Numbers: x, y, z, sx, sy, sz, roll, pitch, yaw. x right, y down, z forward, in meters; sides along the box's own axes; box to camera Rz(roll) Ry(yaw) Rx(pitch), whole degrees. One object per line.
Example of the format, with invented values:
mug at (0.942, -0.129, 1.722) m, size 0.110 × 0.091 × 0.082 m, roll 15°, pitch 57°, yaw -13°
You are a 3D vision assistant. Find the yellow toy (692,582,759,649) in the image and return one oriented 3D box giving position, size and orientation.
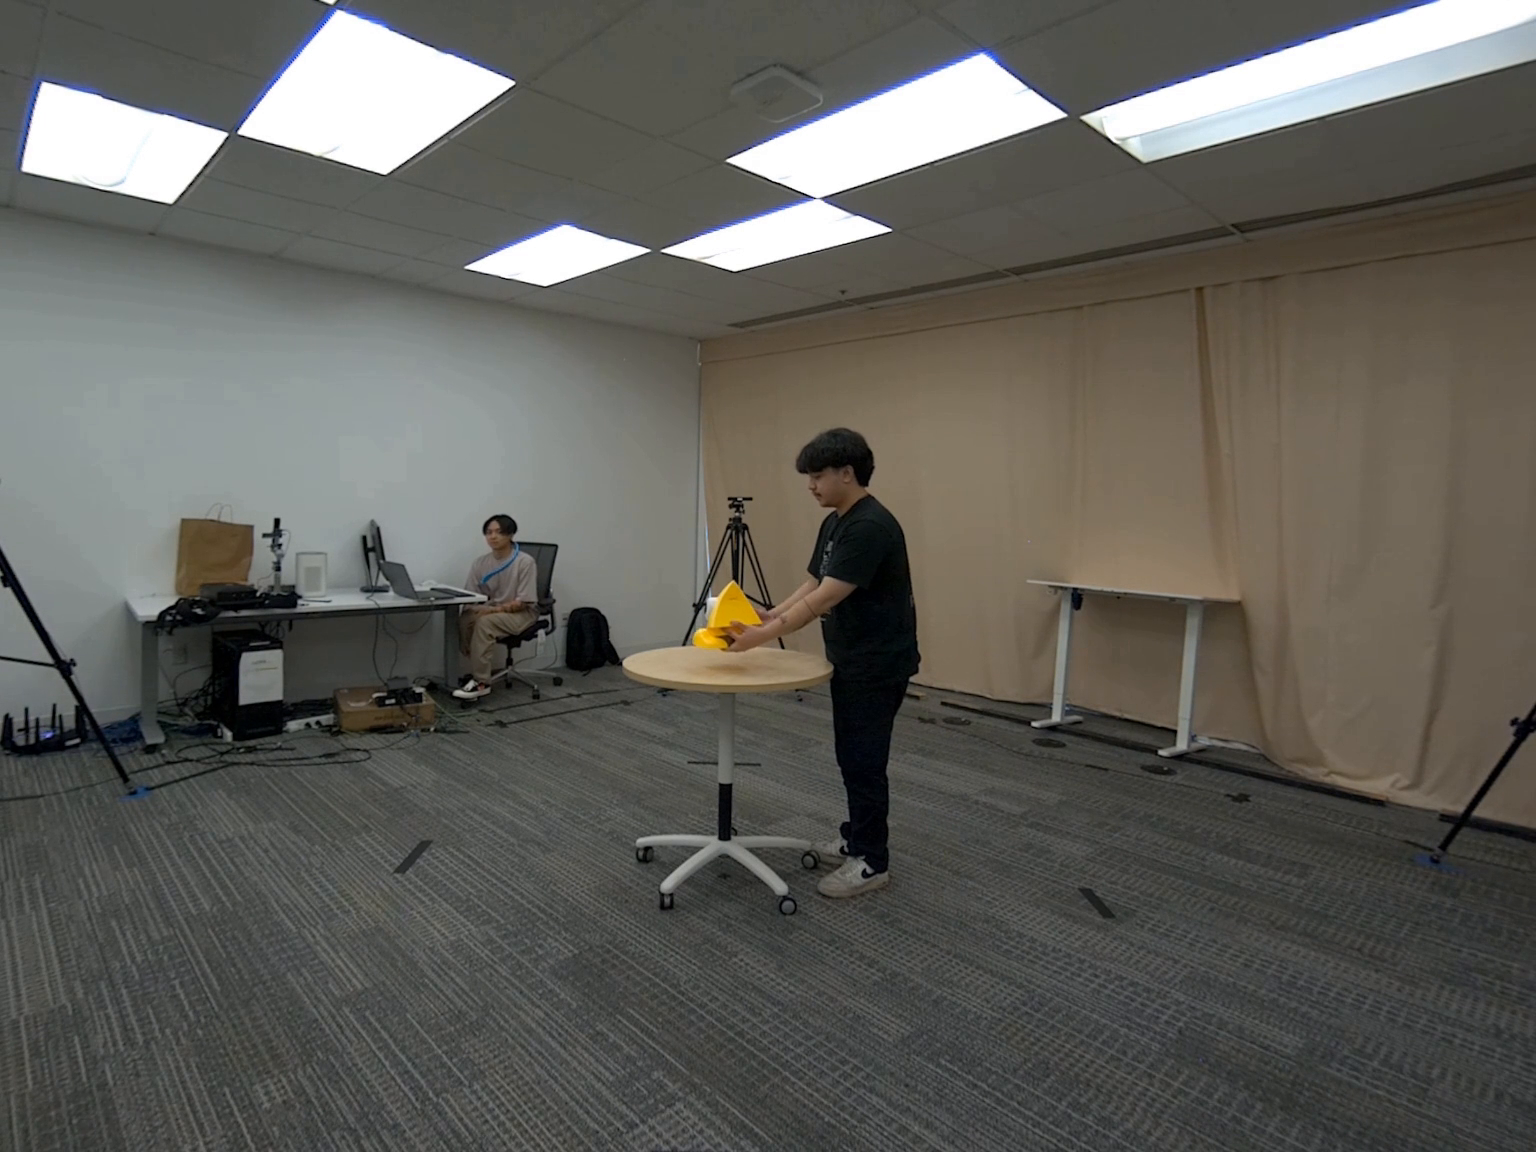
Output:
yellow toy at (-0.161, 0.125, 2.949) m, size 0.200 × 0.230 × 0.198 m, roll -3°, pitch 6°, yaw -36°
